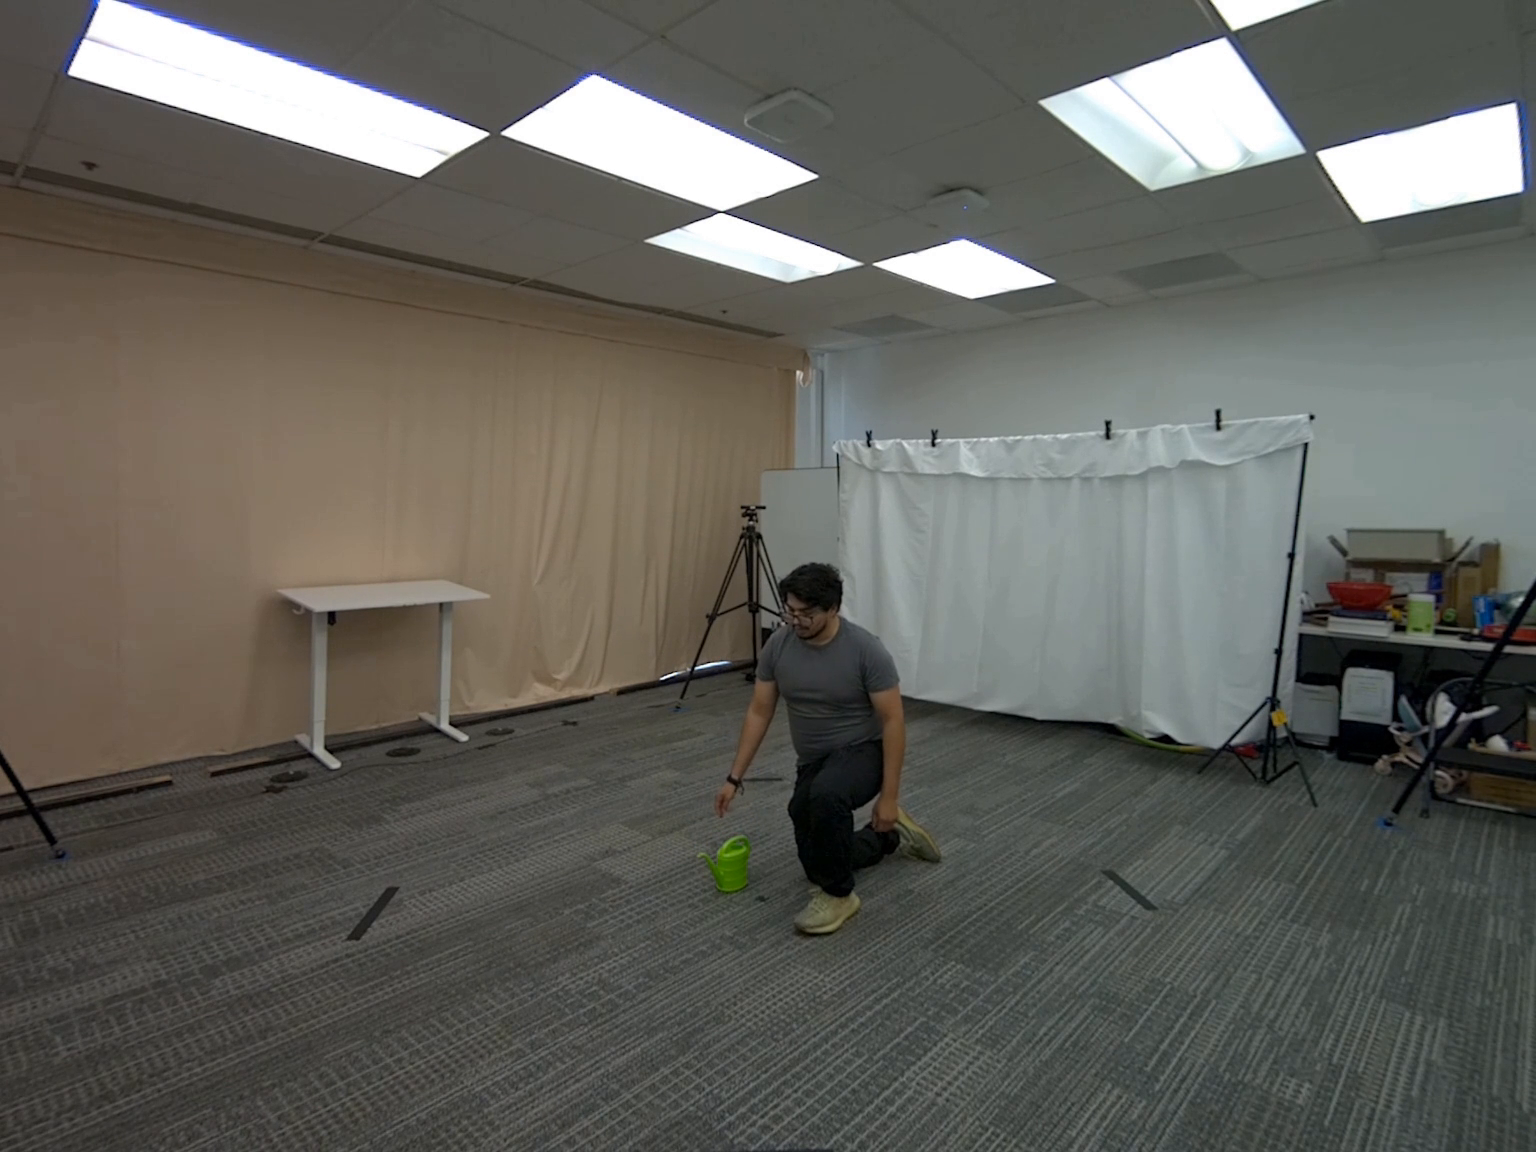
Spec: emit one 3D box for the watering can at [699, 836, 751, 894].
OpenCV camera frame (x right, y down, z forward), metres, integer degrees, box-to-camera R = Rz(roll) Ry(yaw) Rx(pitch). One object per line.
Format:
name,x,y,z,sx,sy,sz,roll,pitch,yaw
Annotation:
watering can,-0.164,1.054,3.057,0.270,0.176,0.101,-4,4,-35
